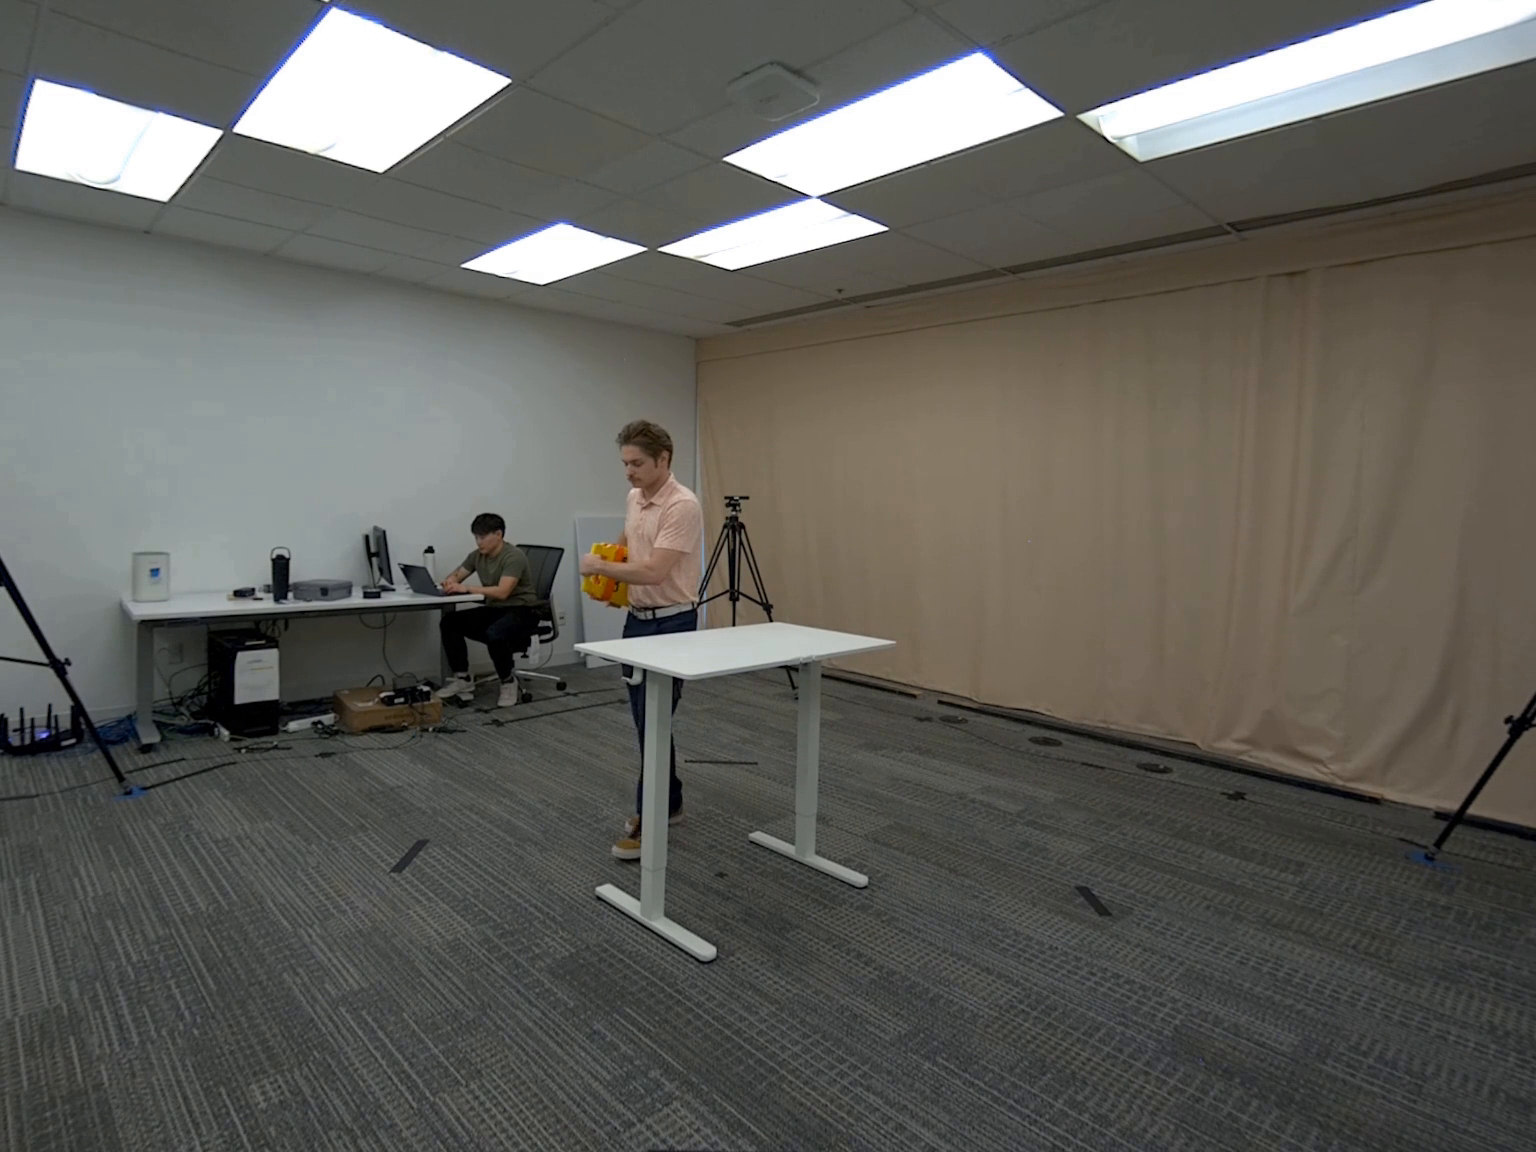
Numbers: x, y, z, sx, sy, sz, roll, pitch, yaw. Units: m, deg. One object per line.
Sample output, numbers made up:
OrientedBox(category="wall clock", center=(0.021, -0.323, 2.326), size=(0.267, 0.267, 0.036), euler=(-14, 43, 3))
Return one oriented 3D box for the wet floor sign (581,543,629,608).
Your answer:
OrientedBox(category="wet floor sign", center=(-0.622, 0.011, 3.631), size=(0.296, 0.283, 0.631), euler=(15, -3, 24))
